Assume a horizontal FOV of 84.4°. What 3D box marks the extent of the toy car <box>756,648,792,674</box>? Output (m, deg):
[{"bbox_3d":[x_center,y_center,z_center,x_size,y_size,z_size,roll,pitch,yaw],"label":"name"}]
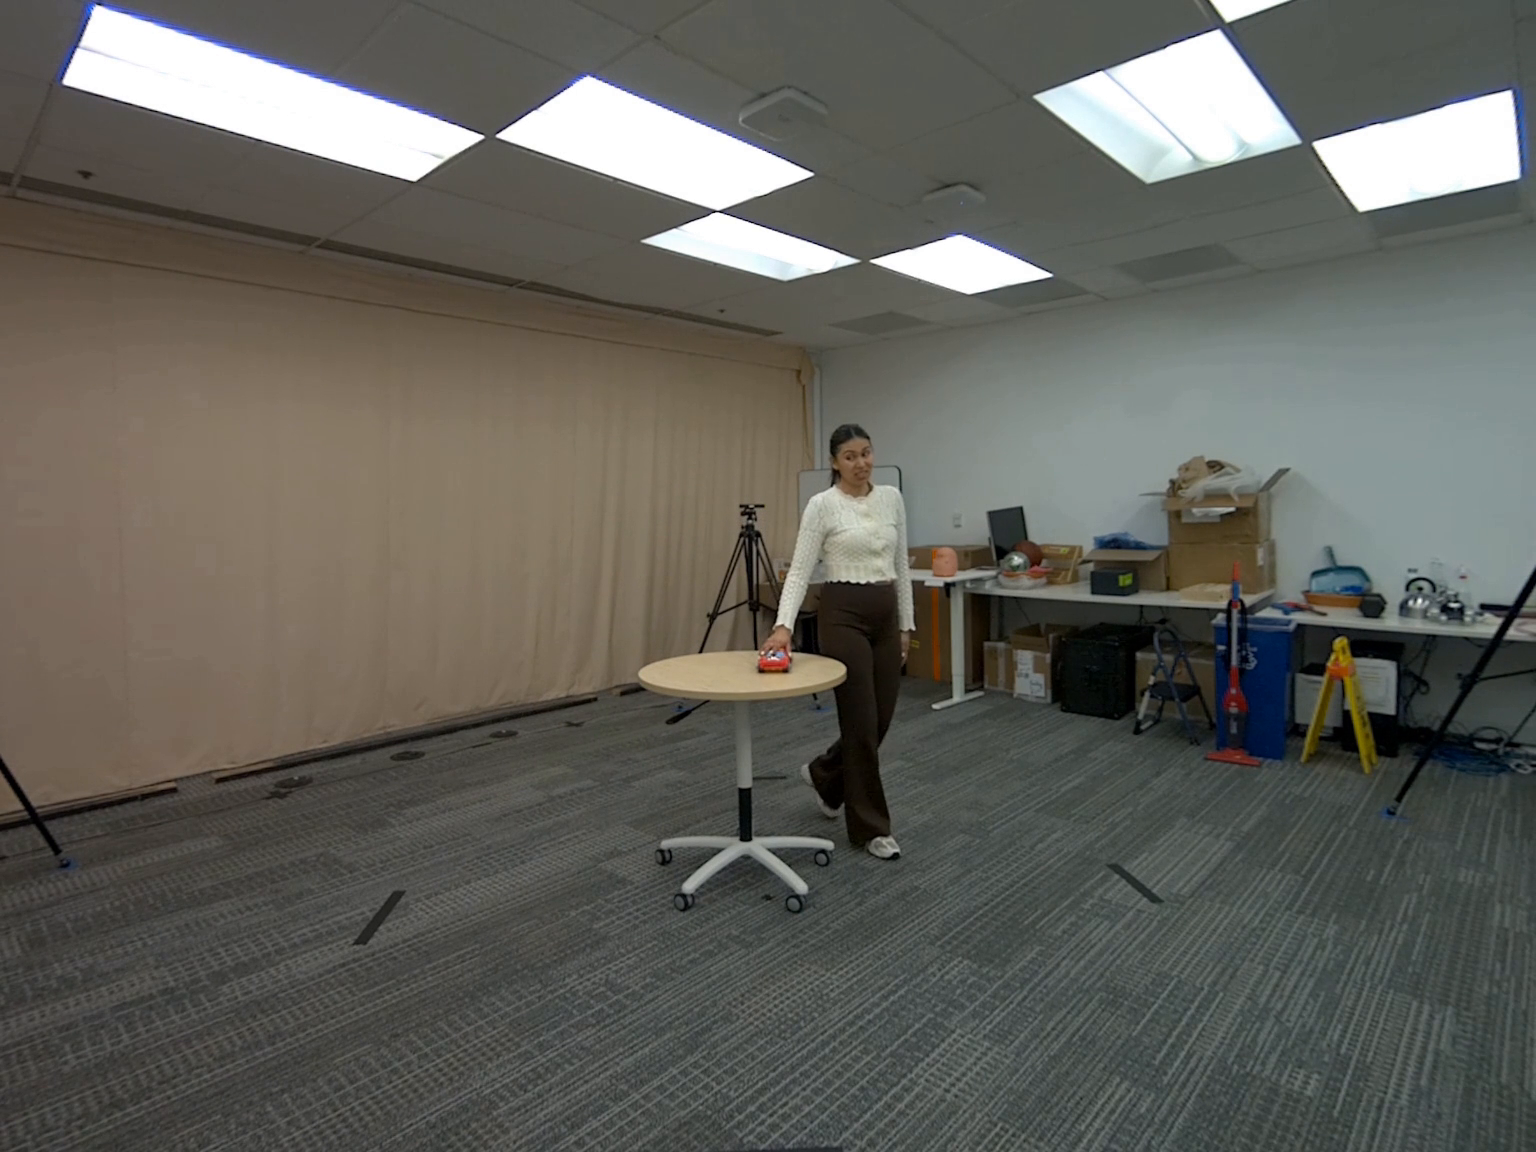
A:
[{"bbox_3d":[0.030,0.306,3.132,0.131,0.082,0.255,-1,15,3],"label":"toy car"}]
